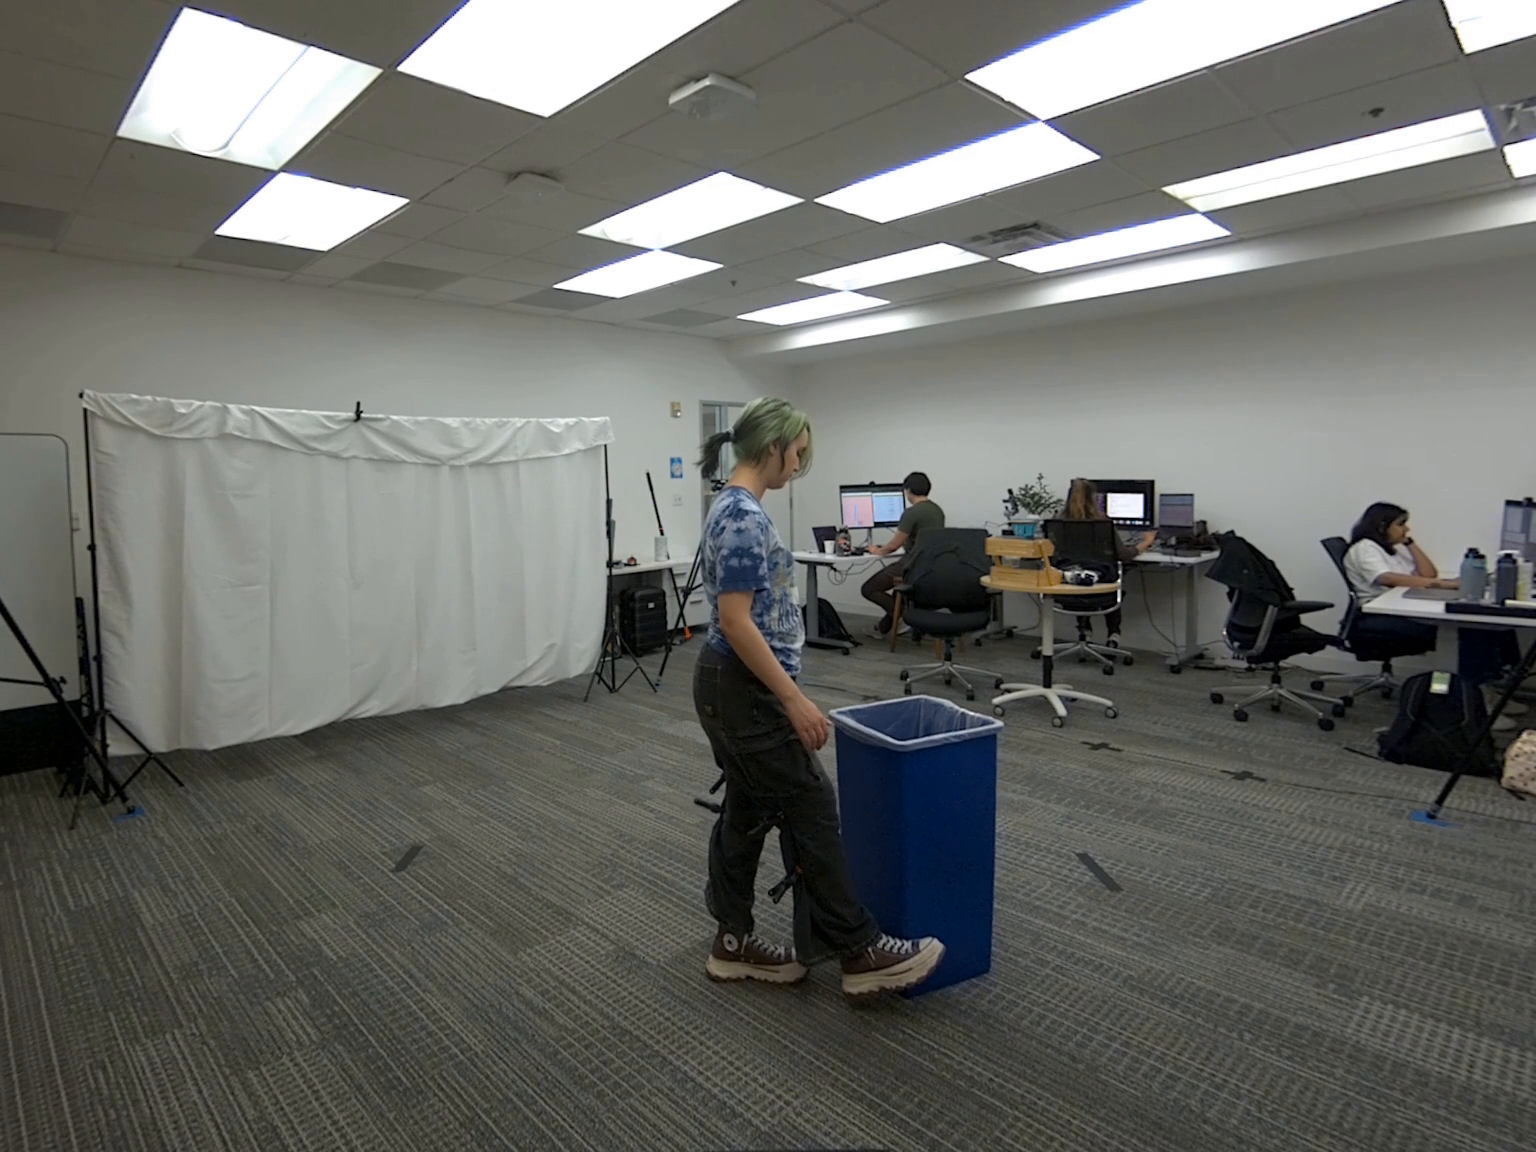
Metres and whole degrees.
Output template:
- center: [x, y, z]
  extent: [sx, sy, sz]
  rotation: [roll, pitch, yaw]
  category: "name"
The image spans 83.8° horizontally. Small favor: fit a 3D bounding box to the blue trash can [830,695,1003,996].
- center: [0.428, 0.756, 2.454]
  extent: [0.366, 0.711, 0.388]
  rotation: [-3, 4, -27]
  category: "blue trash can"
